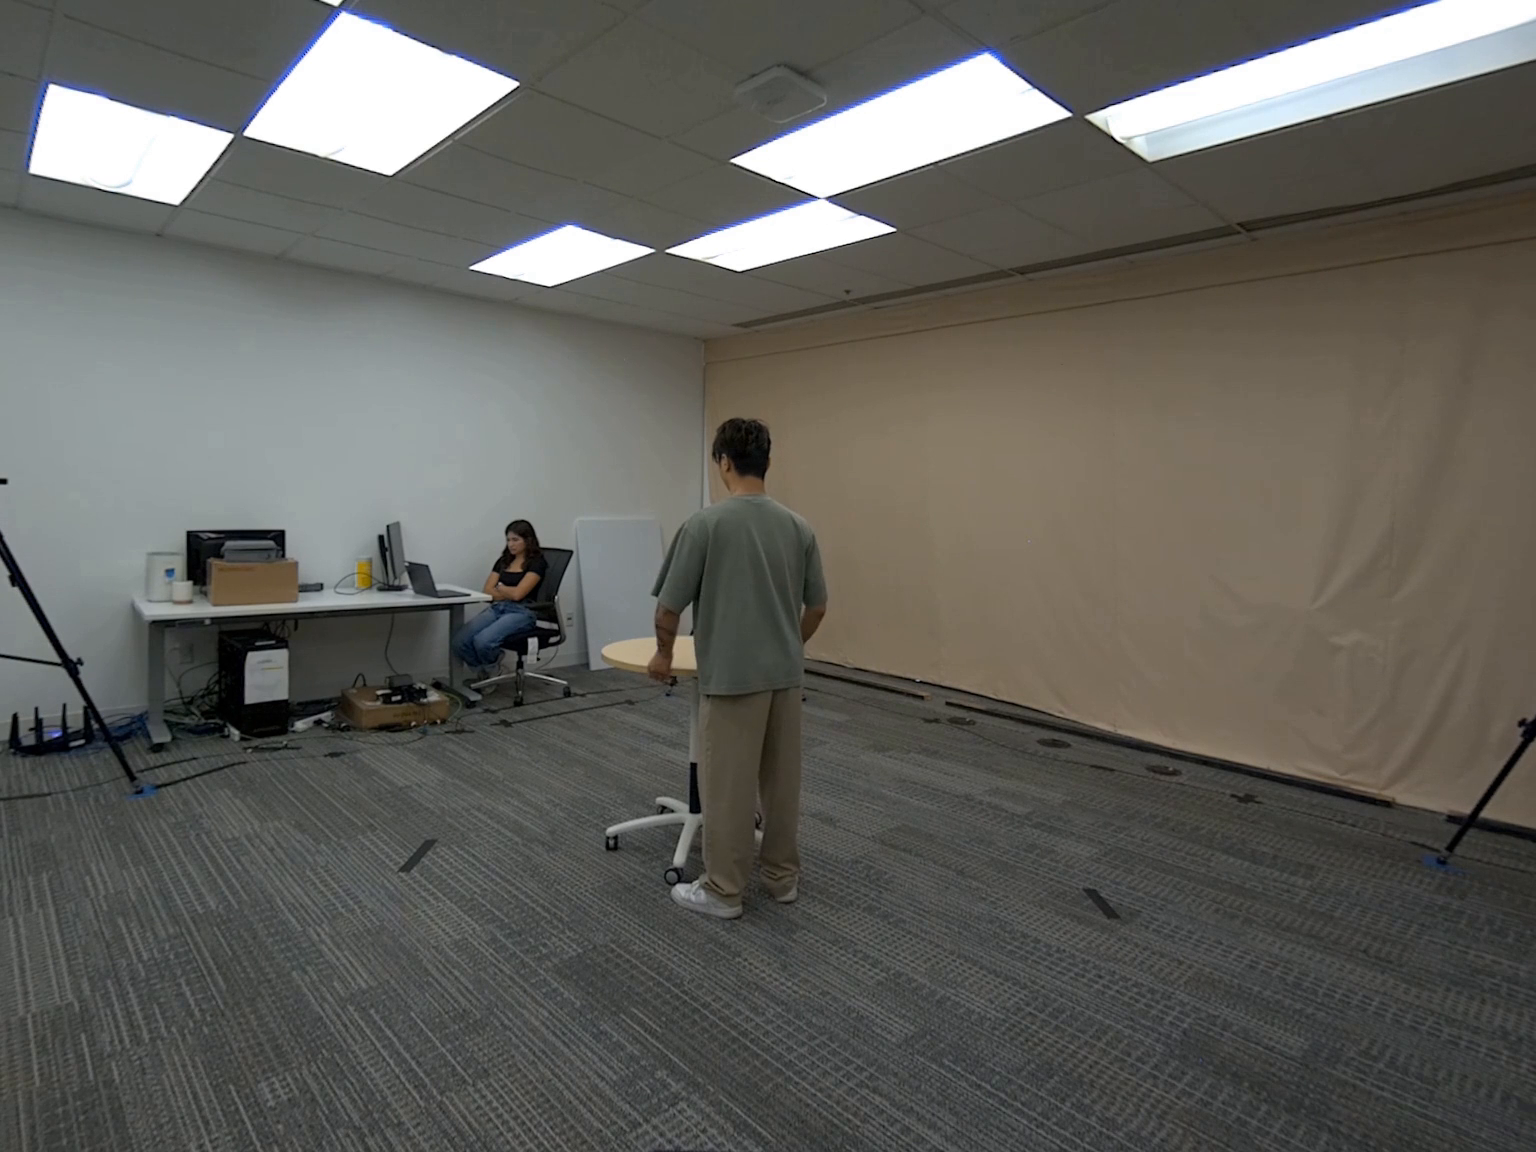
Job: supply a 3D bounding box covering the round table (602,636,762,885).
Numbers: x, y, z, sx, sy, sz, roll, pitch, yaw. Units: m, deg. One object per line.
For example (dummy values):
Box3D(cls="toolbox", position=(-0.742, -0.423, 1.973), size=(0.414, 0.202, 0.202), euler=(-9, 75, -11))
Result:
Box3D(cls="round table", position=(-0.293, 0.689, 3.335), size=(0.784, 0.784, 0.787), euler=(1, 4, -1))
